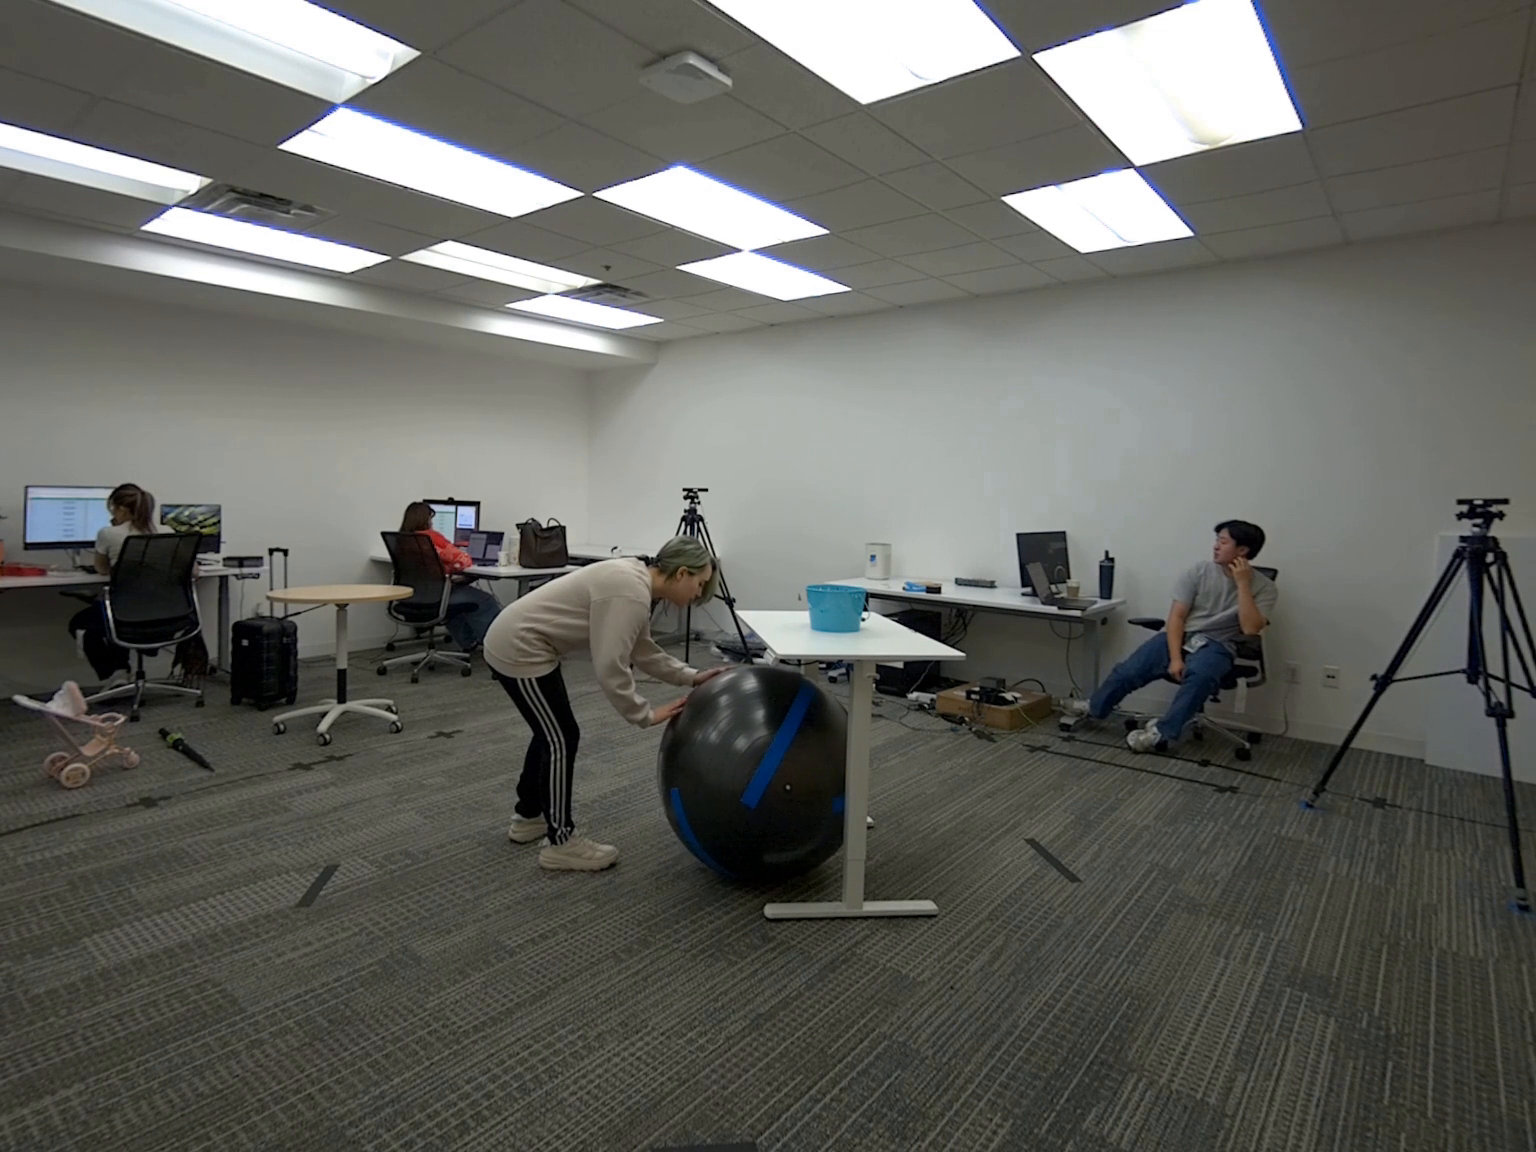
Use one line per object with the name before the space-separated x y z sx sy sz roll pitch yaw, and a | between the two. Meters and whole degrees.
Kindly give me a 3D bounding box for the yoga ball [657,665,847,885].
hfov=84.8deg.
yoga ball | -0.034 0.706 3.094 0.757 0.755 0.762 1 4 -2
